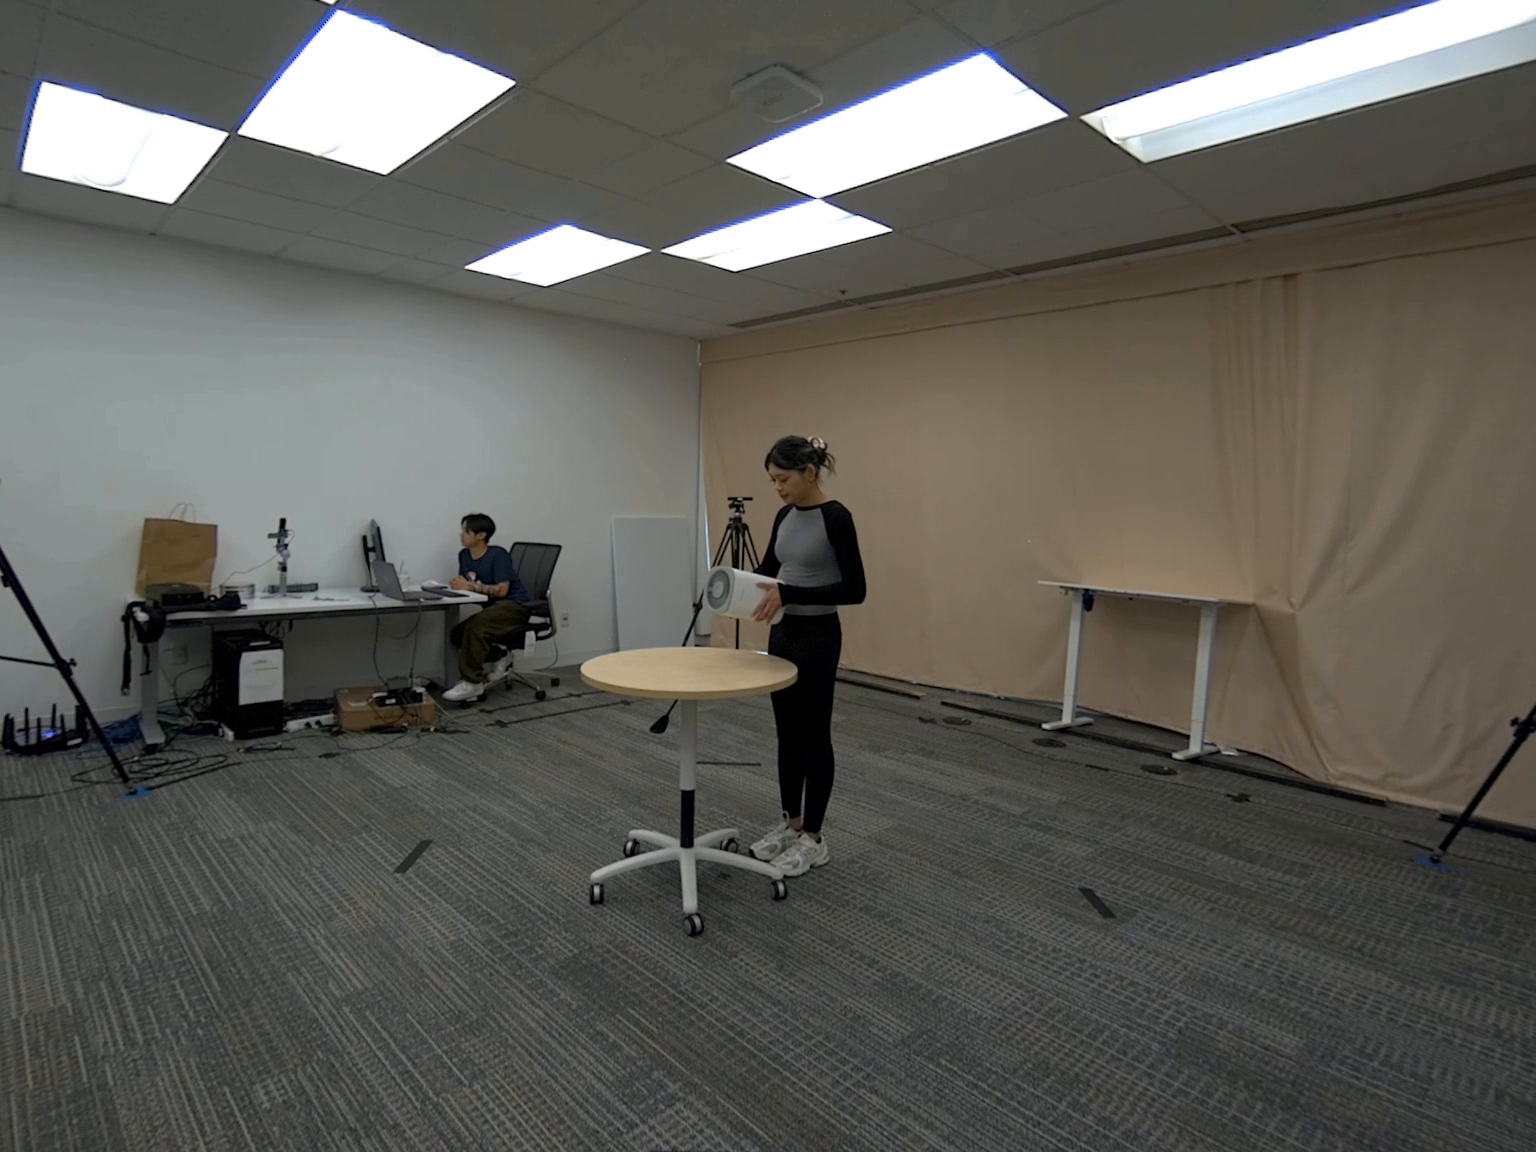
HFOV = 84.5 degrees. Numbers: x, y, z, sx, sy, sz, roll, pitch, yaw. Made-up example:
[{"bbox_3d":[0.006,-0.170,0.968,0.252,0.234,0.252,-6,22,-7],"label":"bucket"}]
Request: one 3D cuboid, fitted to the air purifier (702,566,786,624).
[{"bbox_3d":[-0.082,0.072,3.057,0.258,0.171,0.175,13,-5,-35],"label":"air purifier"}]
